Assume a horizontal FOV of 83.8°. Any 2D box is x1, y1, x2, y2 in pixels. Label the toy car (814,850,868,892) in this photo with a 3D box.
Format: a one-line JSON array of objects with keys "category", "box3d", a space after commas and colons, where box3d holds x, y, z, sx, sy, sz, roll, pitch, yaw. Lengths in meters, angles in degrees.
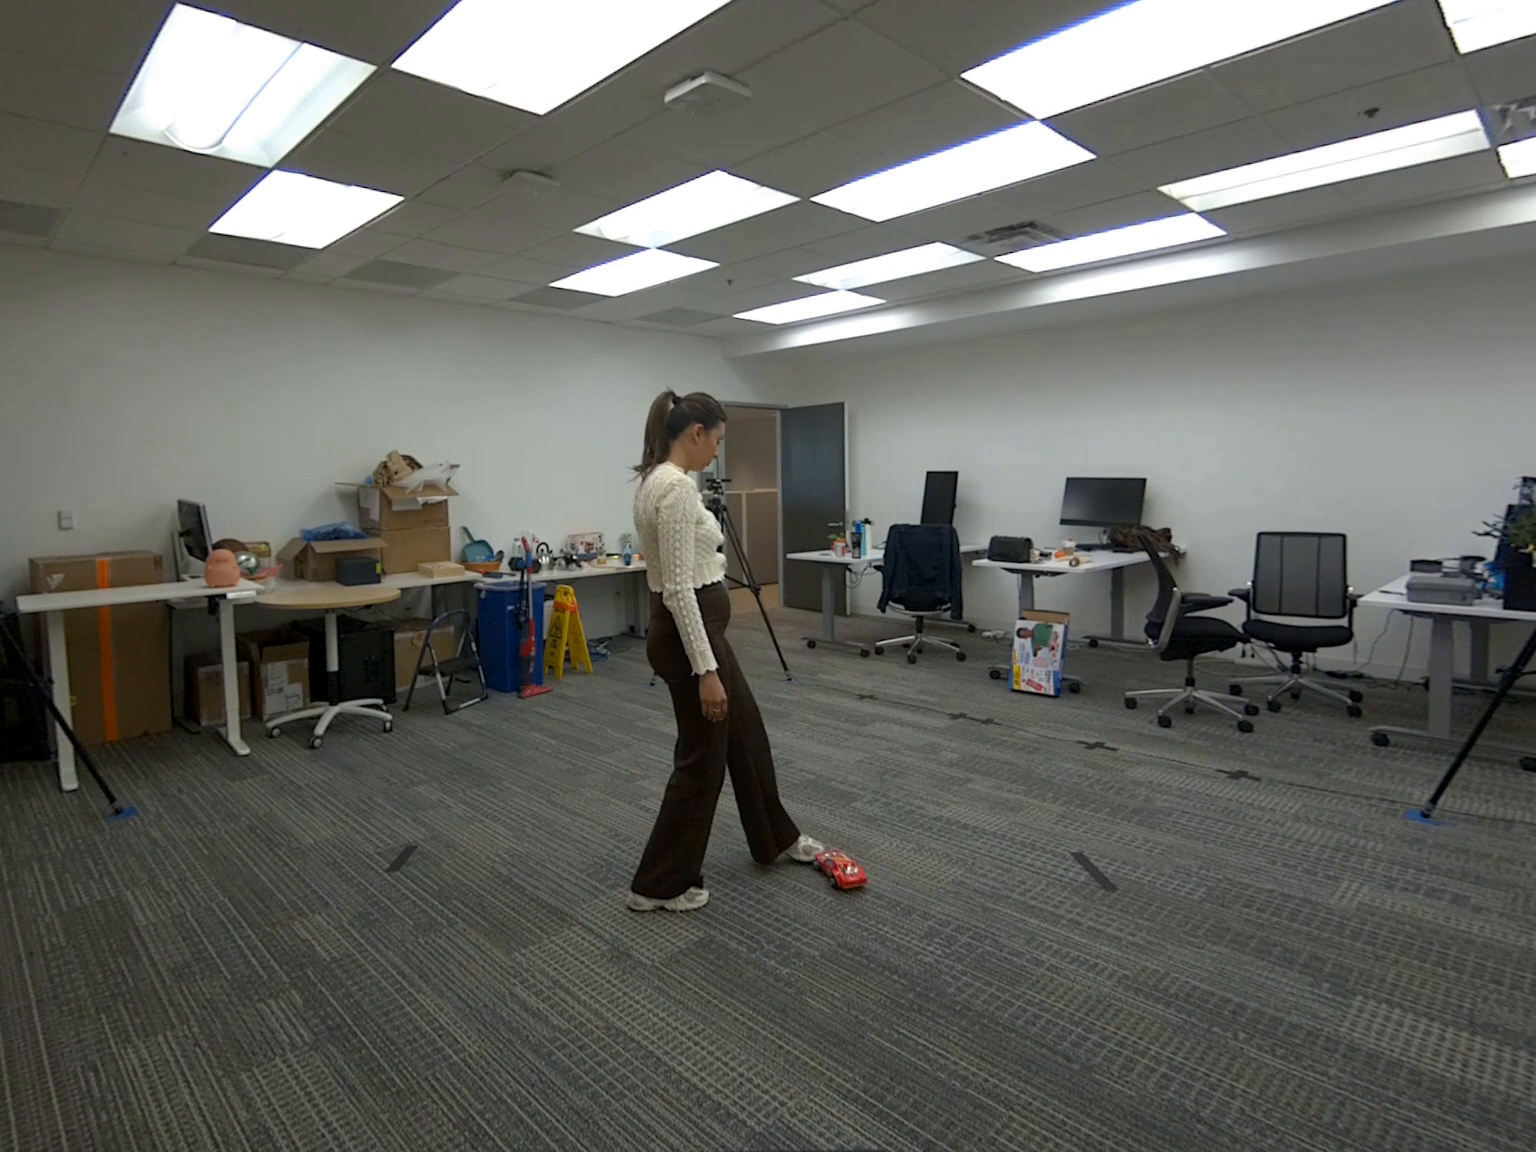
[{"category": "toy car", "box3d": [0.258, 1.023, 2.958, 0.128, 0.084, 0.257, -2, -5, -18]}]
